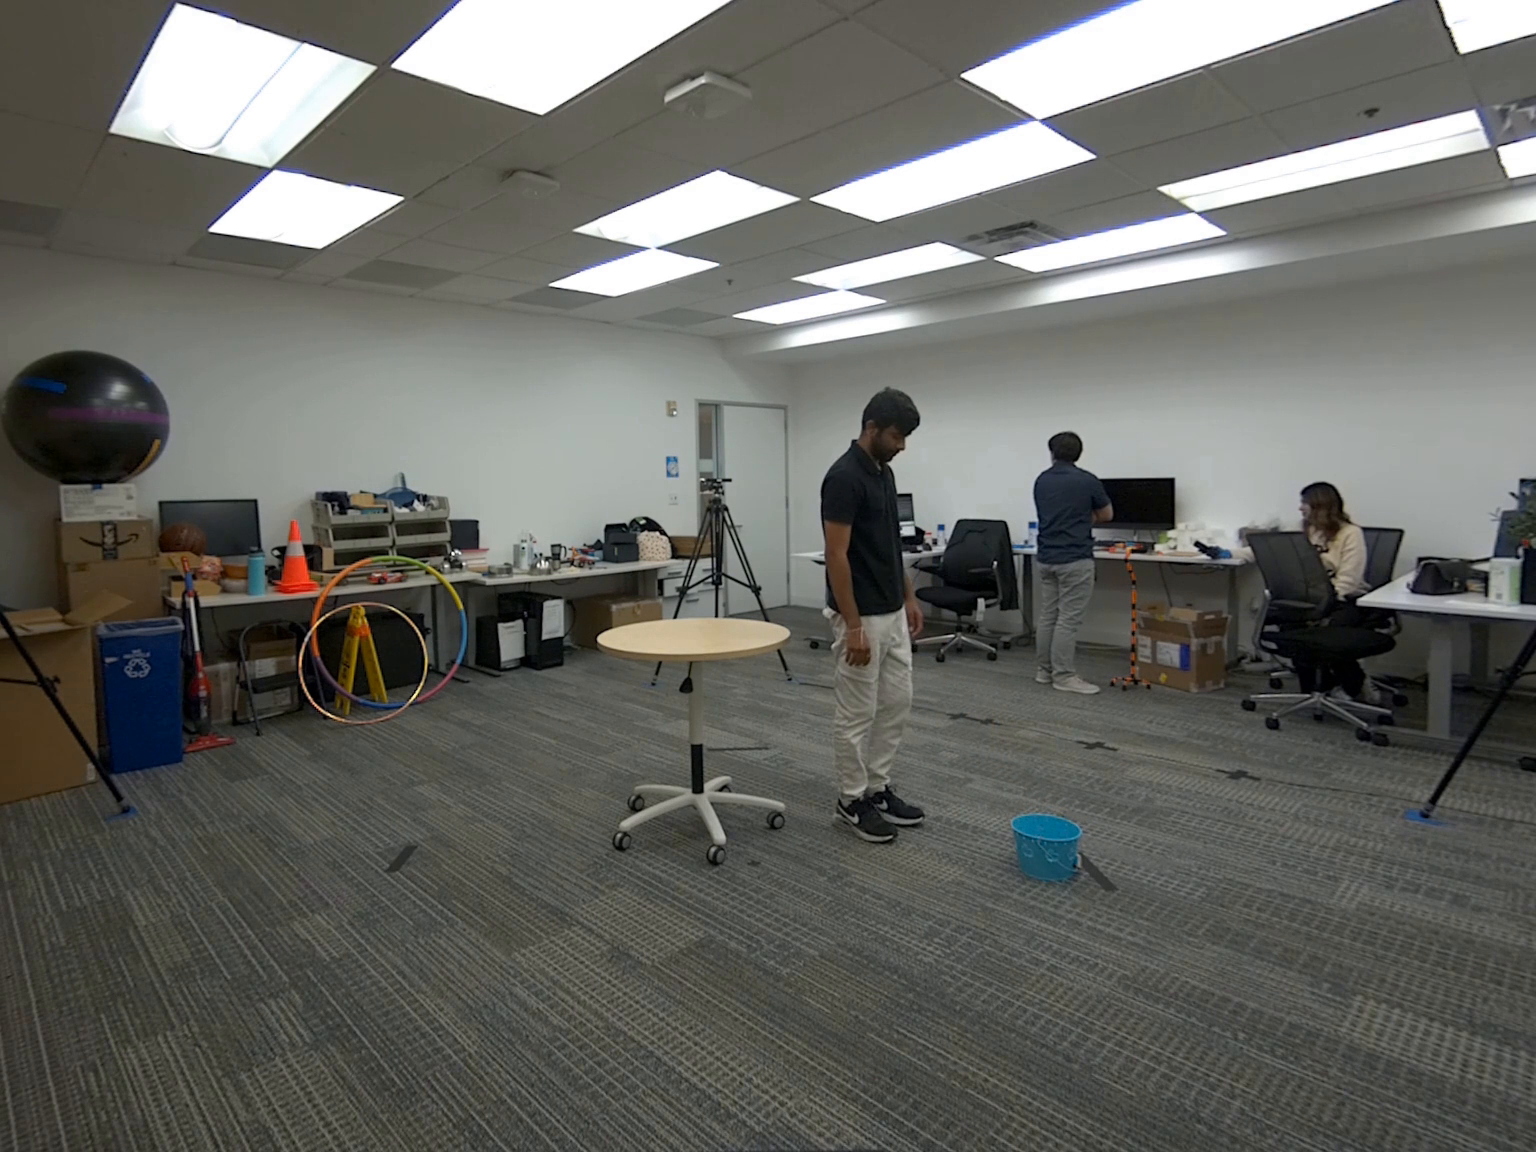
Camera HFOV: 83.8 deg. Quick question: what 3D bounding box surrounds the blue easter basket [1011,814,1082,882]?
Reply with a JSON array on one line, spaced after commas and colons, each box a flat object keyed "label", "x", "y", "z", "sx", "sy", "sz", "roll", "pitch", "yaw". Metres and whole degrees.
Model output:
[{"label": "blue easter basket", "x": 0.985, "y": 0.959, "z": 3.012, "sx": 0.243, "sy": 0.155, "sz": 0.245, "roll": -2, "pitch": 5, "yaw": -2}]
